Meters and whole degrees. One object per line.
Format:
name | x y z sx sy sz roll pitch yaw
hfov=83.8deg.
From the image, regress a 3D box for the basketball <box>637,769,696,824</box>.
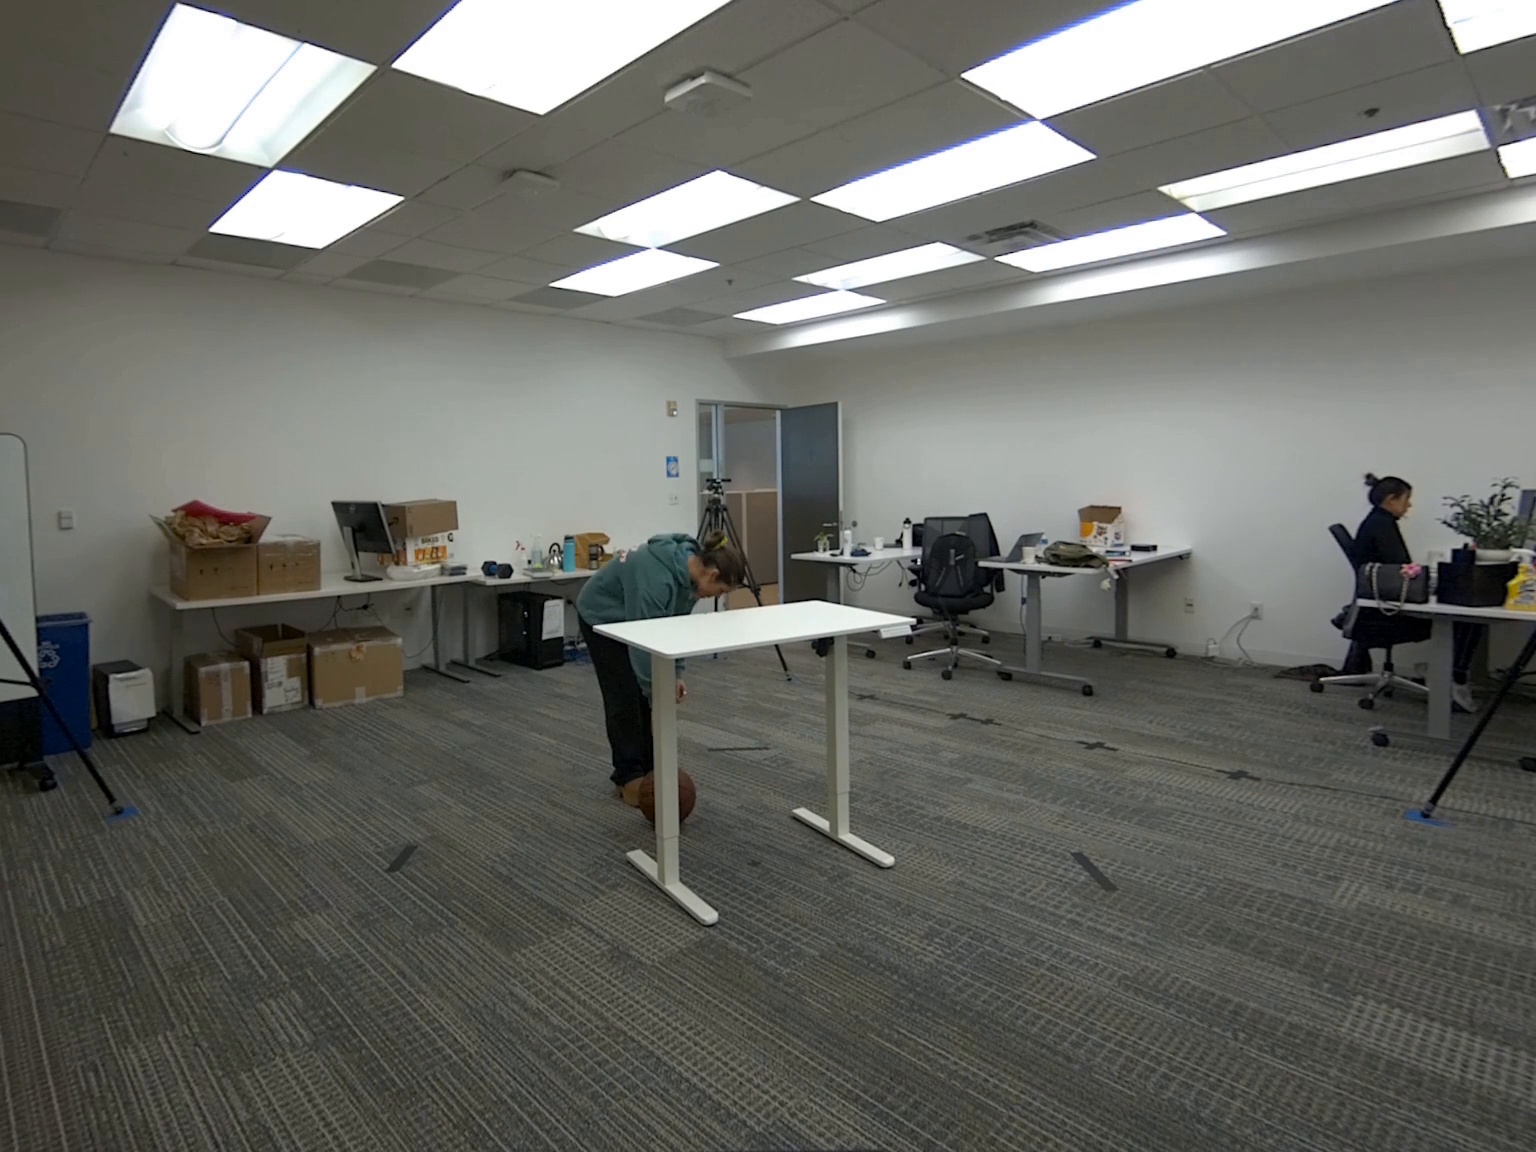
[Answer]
basketball | -0.410 0.894 3.475 0.236 0.235 0.237 -1 5 -2
